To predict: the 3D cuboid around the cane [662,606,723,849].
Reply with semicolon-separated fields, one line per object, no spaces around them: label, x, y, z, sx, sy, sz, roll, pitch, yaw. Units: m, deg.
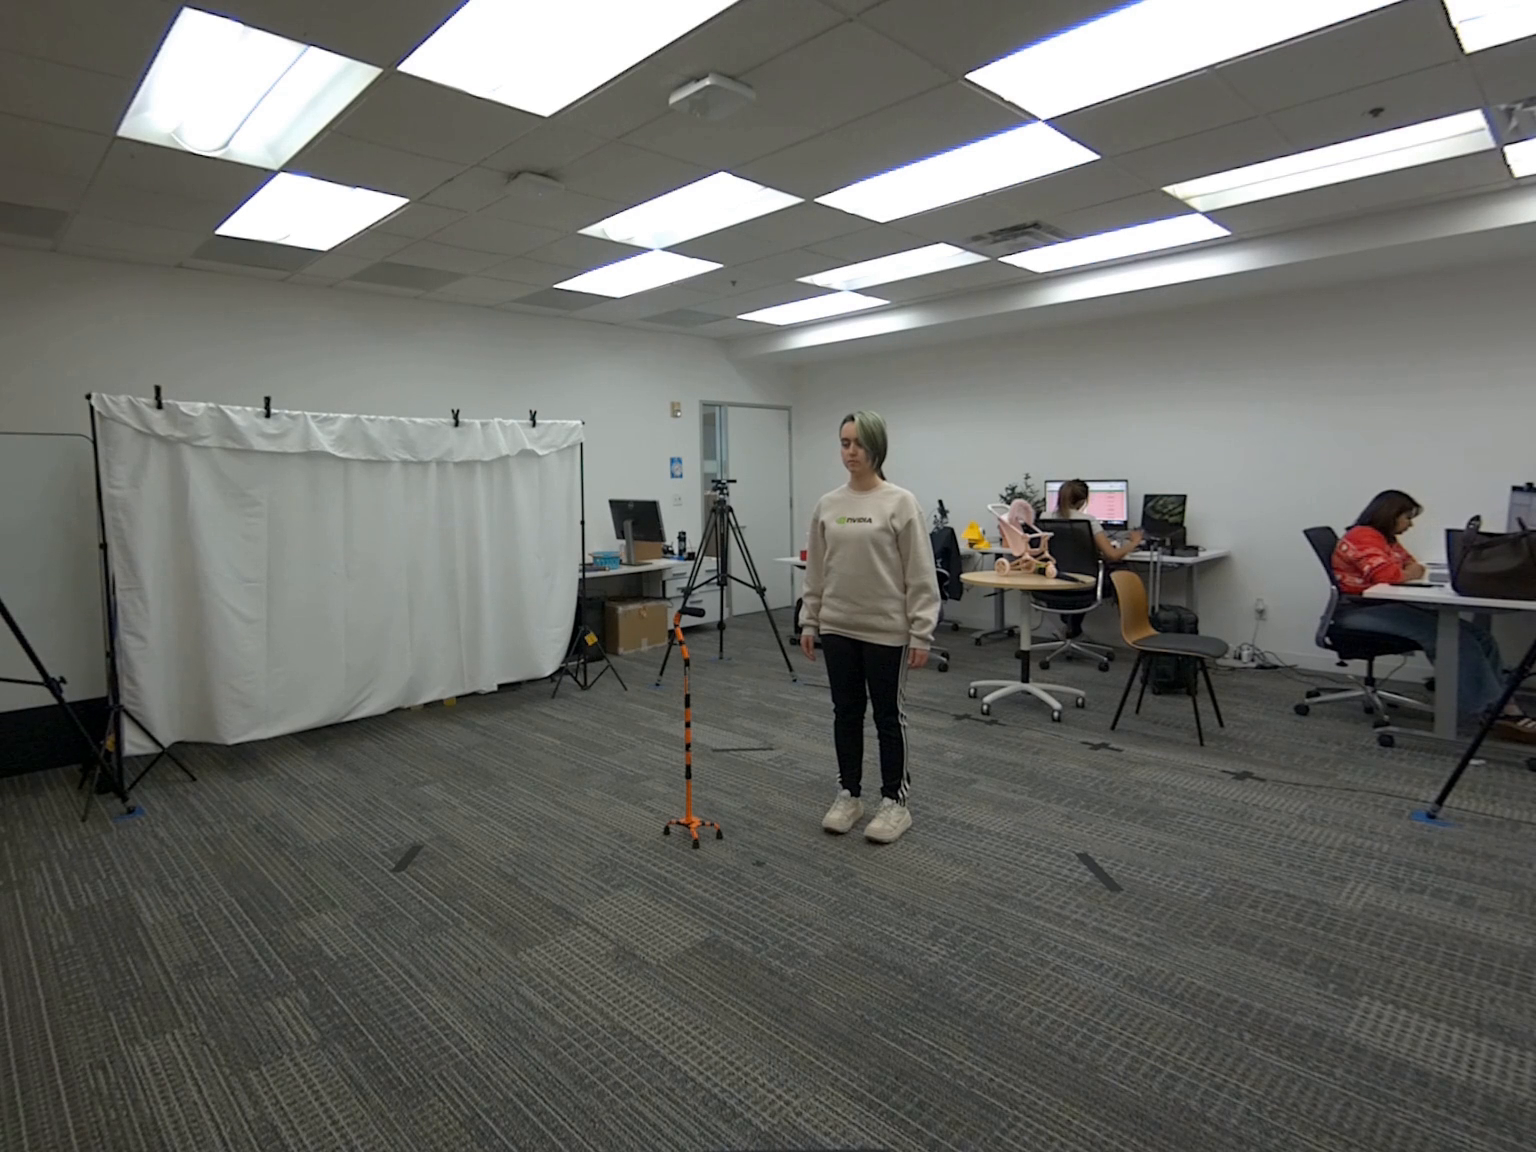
cane;-0.297;0.572;3.323;0.147;0.904;0.213;-5;6;-42
